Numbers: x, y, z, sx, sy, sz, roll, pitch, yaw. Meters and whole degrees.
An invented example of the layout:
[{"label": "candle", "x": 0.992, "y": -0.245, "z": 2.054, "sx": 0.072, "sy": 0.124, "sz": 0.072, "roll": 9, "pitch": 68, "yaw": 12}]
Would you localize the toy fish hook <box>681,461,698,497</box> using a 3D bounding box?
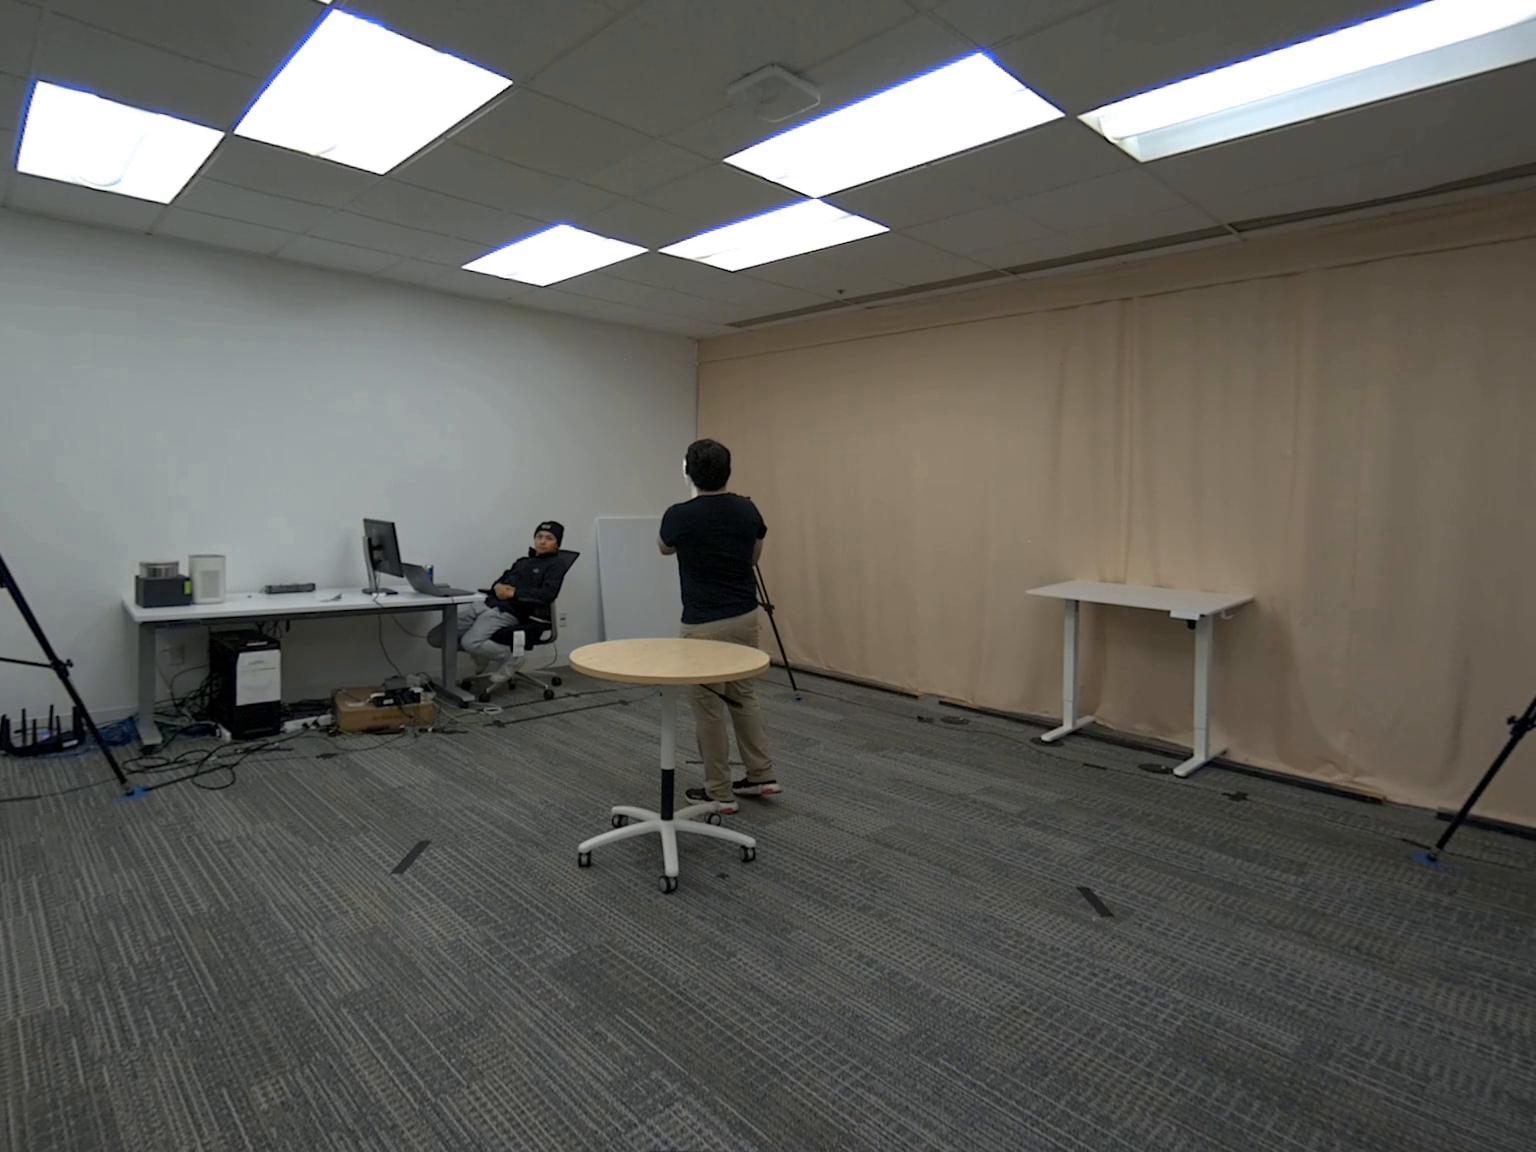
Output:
[{"label": "toy fish hook", "x": -0.393, "y": -0.344, "z": 4.209, "sx": 0.048, "sy": 0.516, "sz": 0.219, "roll": -12, "pitch": -24, "yaw": 9}]
